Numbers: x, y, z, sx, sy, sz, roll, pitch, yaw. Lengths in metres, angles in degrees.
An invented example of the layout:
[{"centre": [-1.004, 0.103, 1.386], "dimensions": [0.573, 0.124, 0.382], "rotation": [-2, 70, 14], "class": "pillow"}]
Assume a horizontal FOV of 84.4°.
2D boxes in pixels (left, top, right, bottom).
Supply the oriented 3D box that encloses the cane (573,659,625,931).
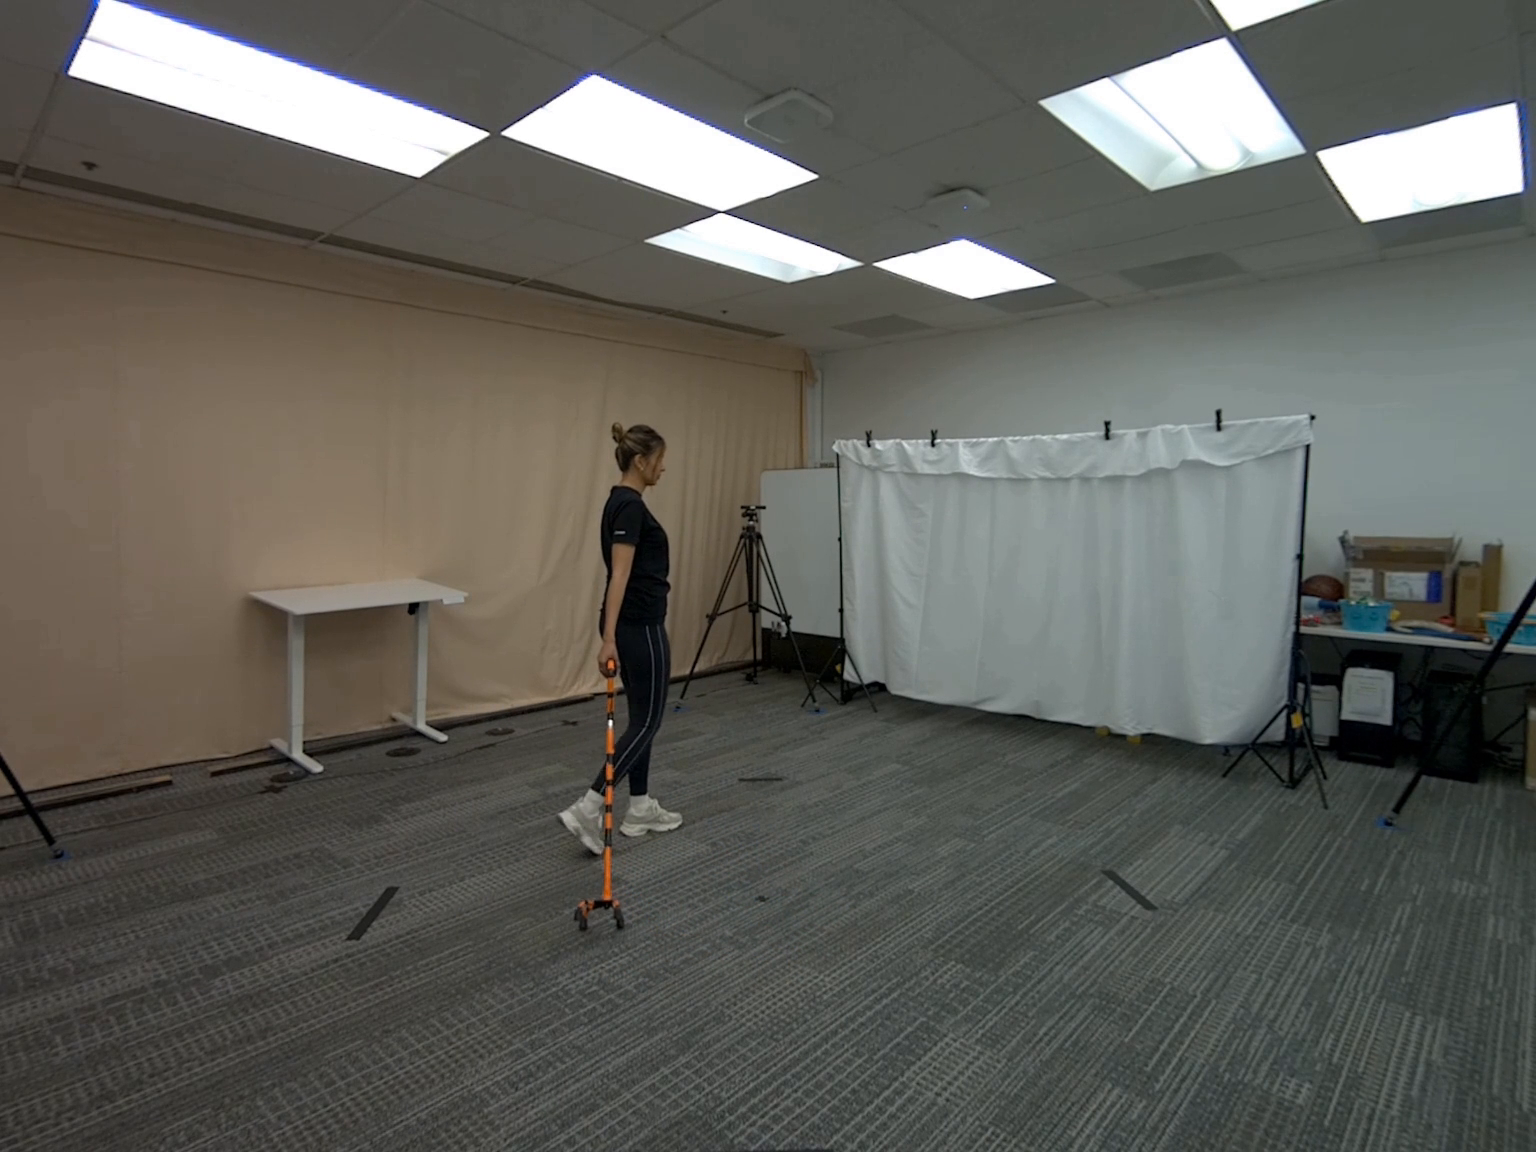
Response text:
[{"centre": [-0.563, 0.726, 2.926], "dimensions": [0.151, 0.924, 0.203], "rotation": [-2, -31, -4], "class": "cane"}]
